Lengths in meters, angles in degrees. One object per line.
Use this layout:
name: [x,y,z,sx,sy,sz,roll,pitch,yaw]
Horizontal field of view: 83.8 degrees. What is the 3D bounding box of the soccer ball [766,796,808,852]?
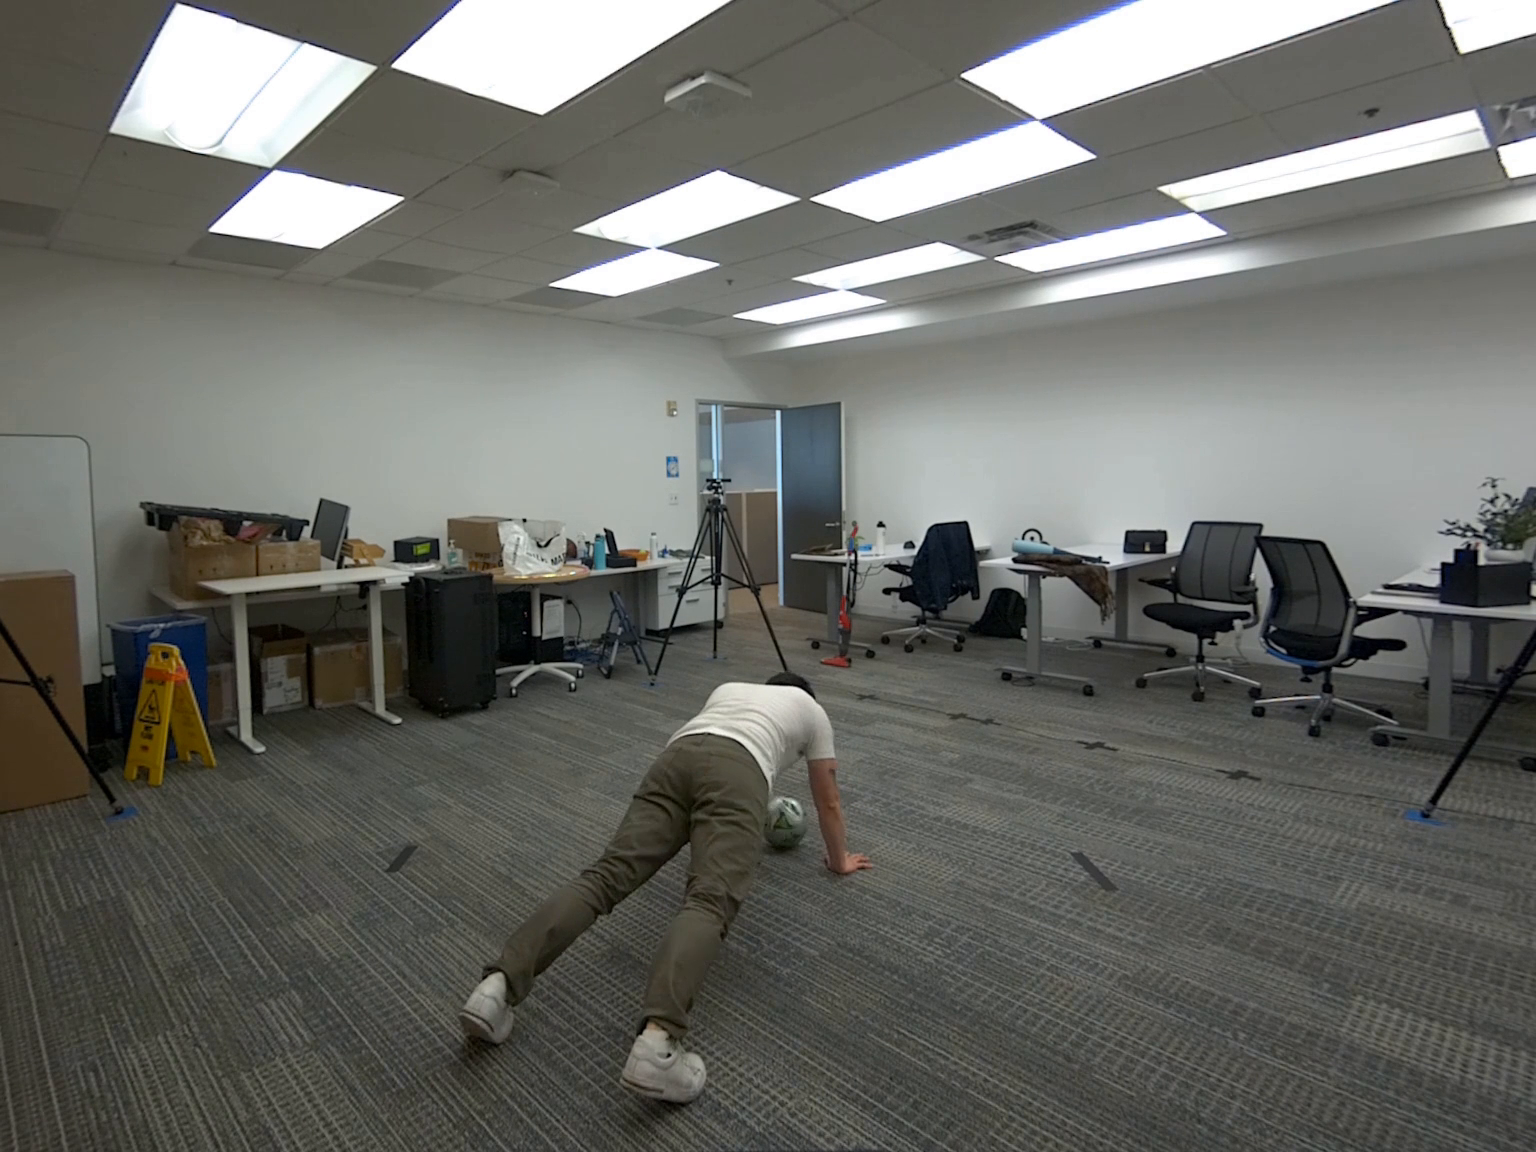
soccer ball: [0.061,0.935,3.241,0.187,0.187,0.188,-1,5,-2]
